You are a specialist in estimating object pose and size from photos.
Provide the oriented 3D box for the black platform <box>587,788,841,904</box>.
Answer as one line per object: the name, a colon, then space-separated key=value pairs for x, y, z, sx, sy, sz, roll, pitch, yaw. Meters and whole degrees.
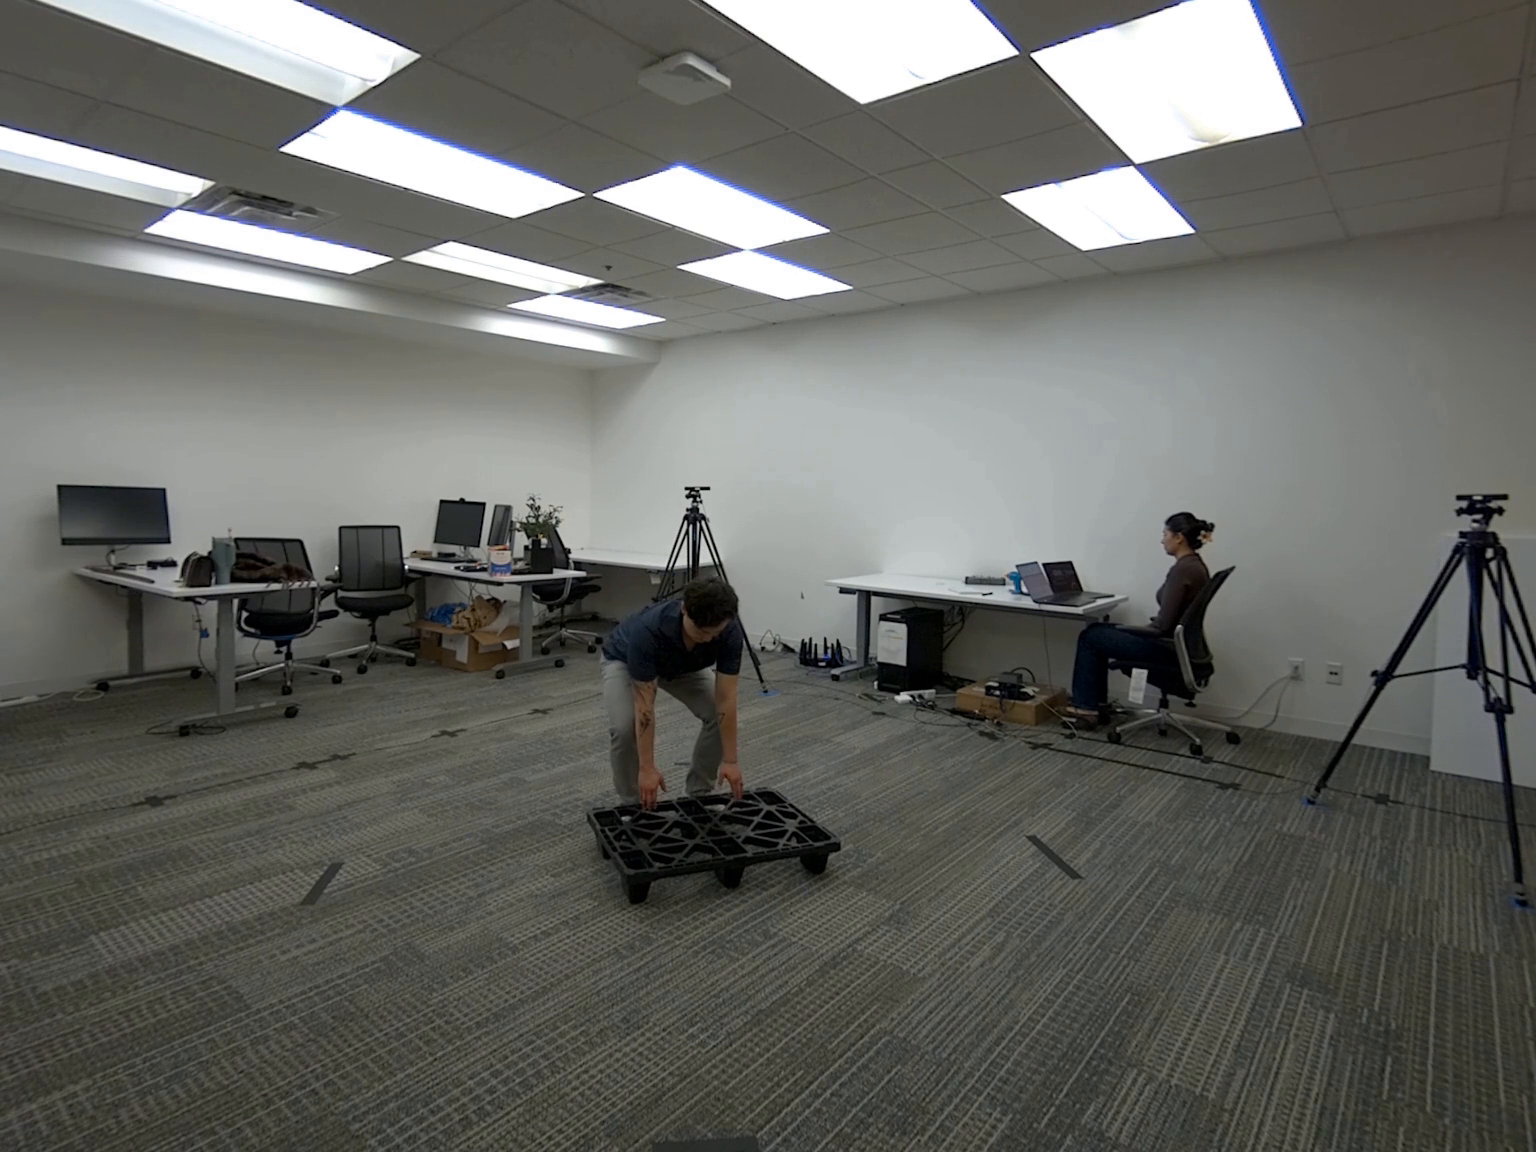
black platform: x=-0.225 y=0.990 z=3.168 sx=0.788 sy=0.143 sz=0.621 roll=-2 pitch=7 yaw=-23
